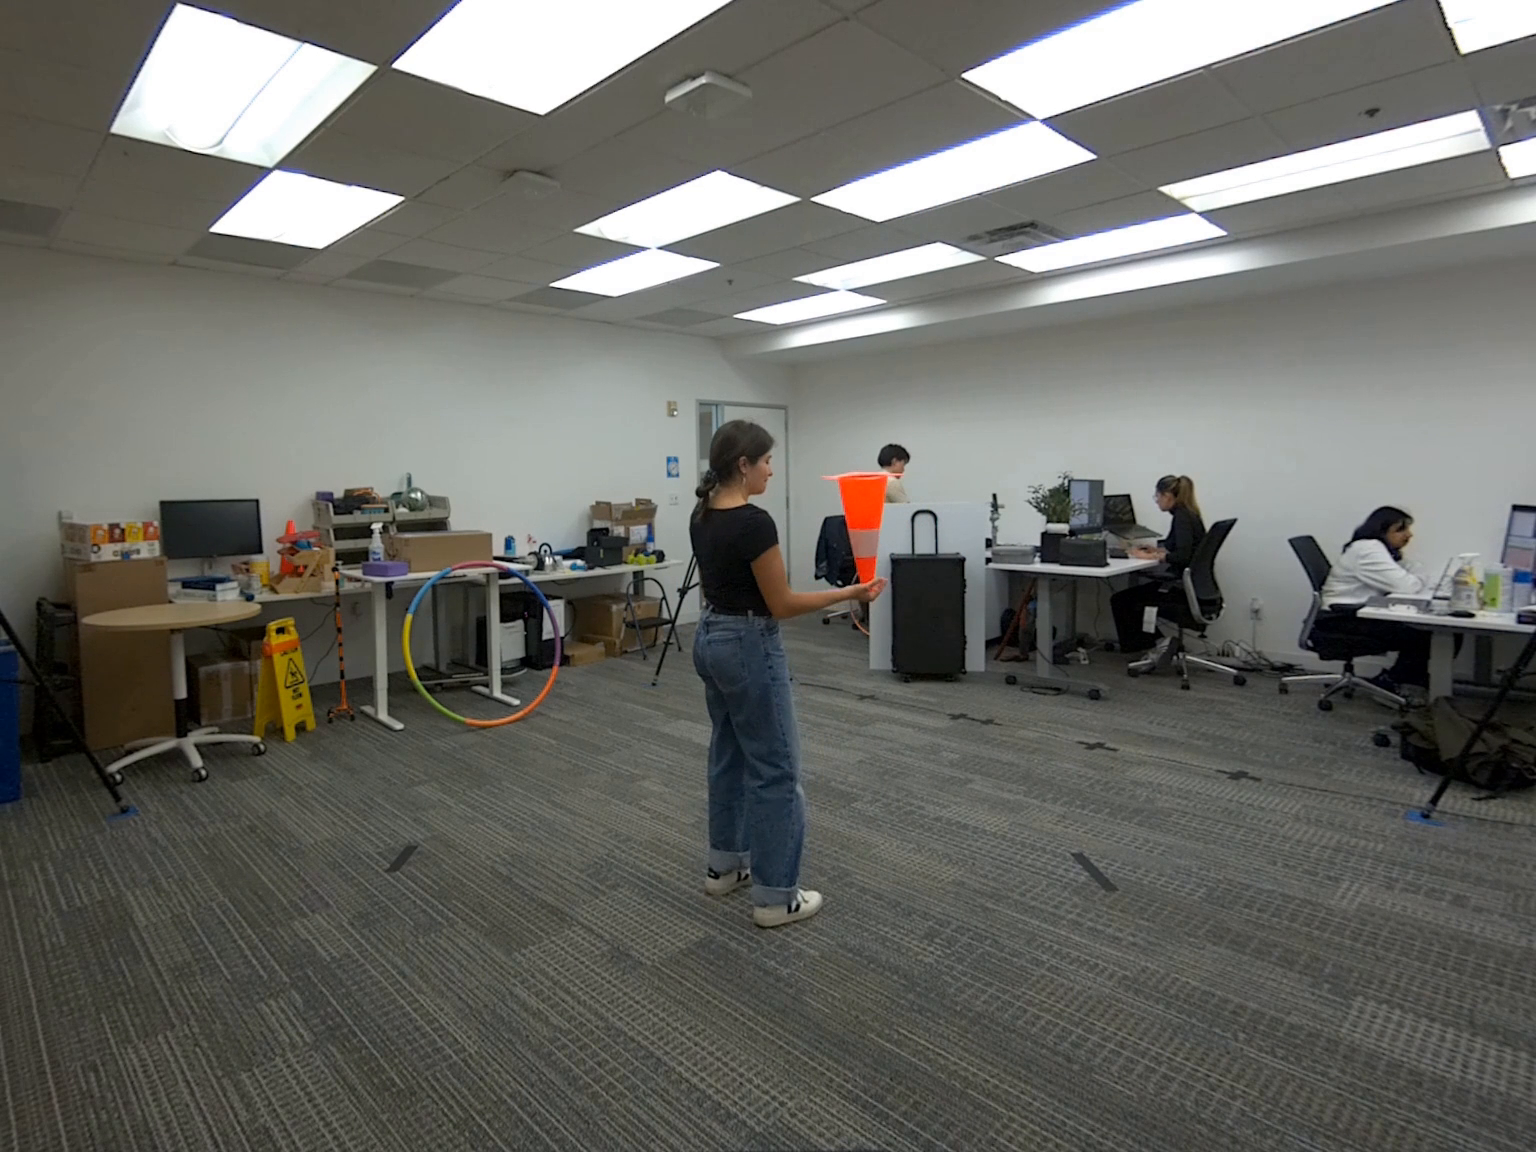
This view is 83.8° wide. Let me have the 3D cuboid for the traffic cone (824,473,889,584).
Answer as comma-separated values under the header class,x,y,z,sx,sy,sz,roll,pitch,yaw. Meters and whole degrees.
class,x,y,z,sx,sy,sz,roll,pitch,yaw
traffic cone,0.301,-0.126,2.731,0.199,0.381,0.210,-6,7,-24
